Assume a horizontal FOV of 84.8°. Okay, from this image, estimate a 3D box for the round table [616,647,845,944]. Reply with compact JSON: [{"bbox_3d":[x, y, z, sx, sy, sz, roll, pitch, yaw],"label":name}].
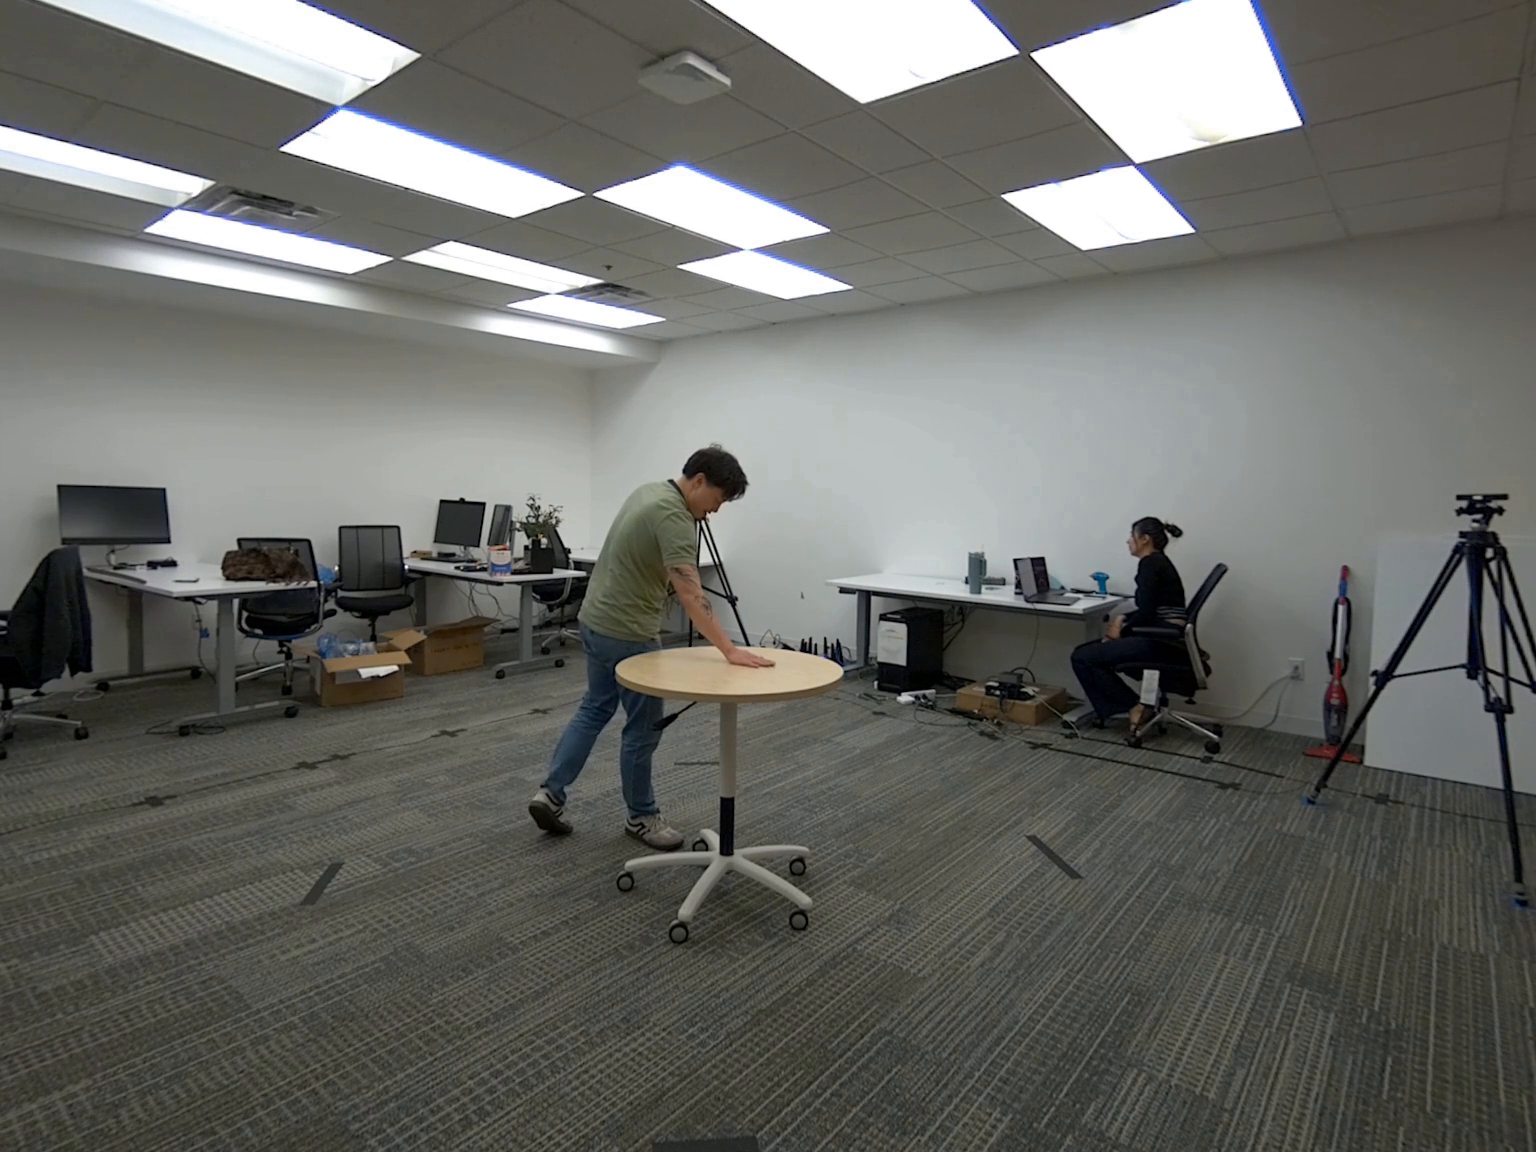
[{"bbox_3d":[-0.145,0.699,2.891,0.763,0.791,0.768,1,4,-2],"label":"round table"}]
